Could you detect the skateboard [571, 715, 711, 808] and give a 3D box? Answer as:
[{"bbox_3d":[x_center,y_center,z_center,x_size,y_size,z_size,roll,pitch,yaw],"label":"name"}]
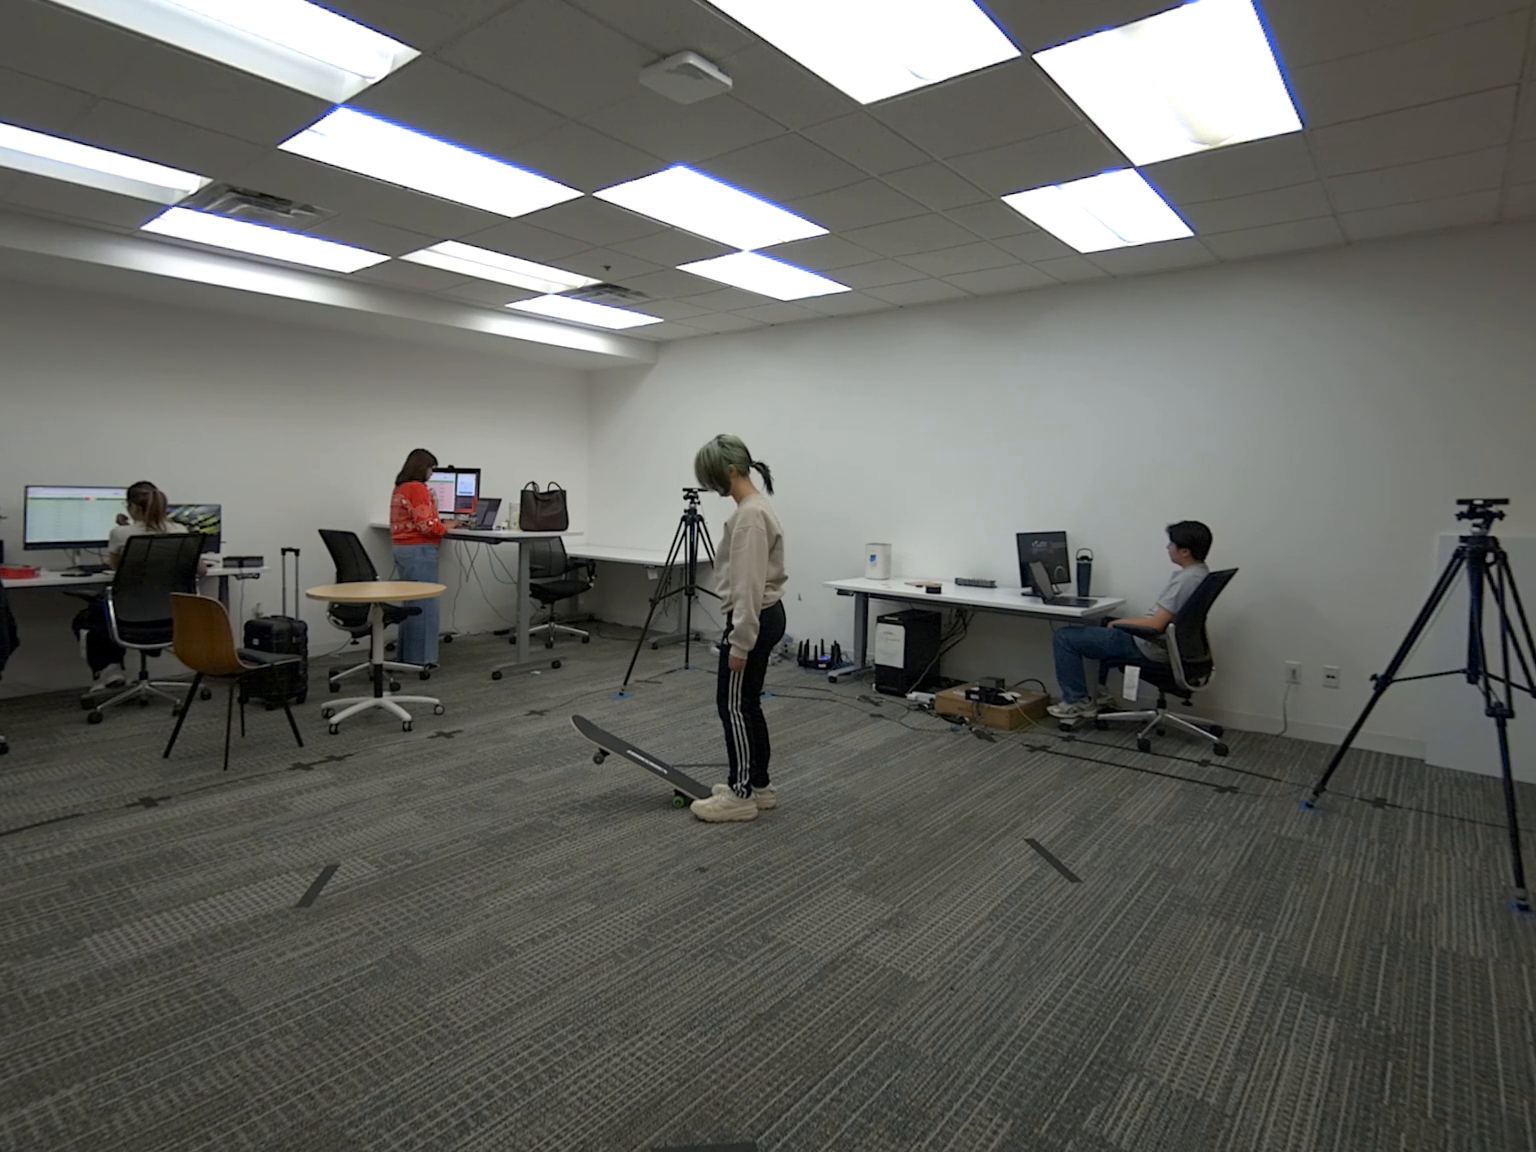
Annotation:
[{"bbox_3d":[-0.571,0.856,3.799,0.788,0.110,0.193,29,4,2],"label":"skateboard"}]
